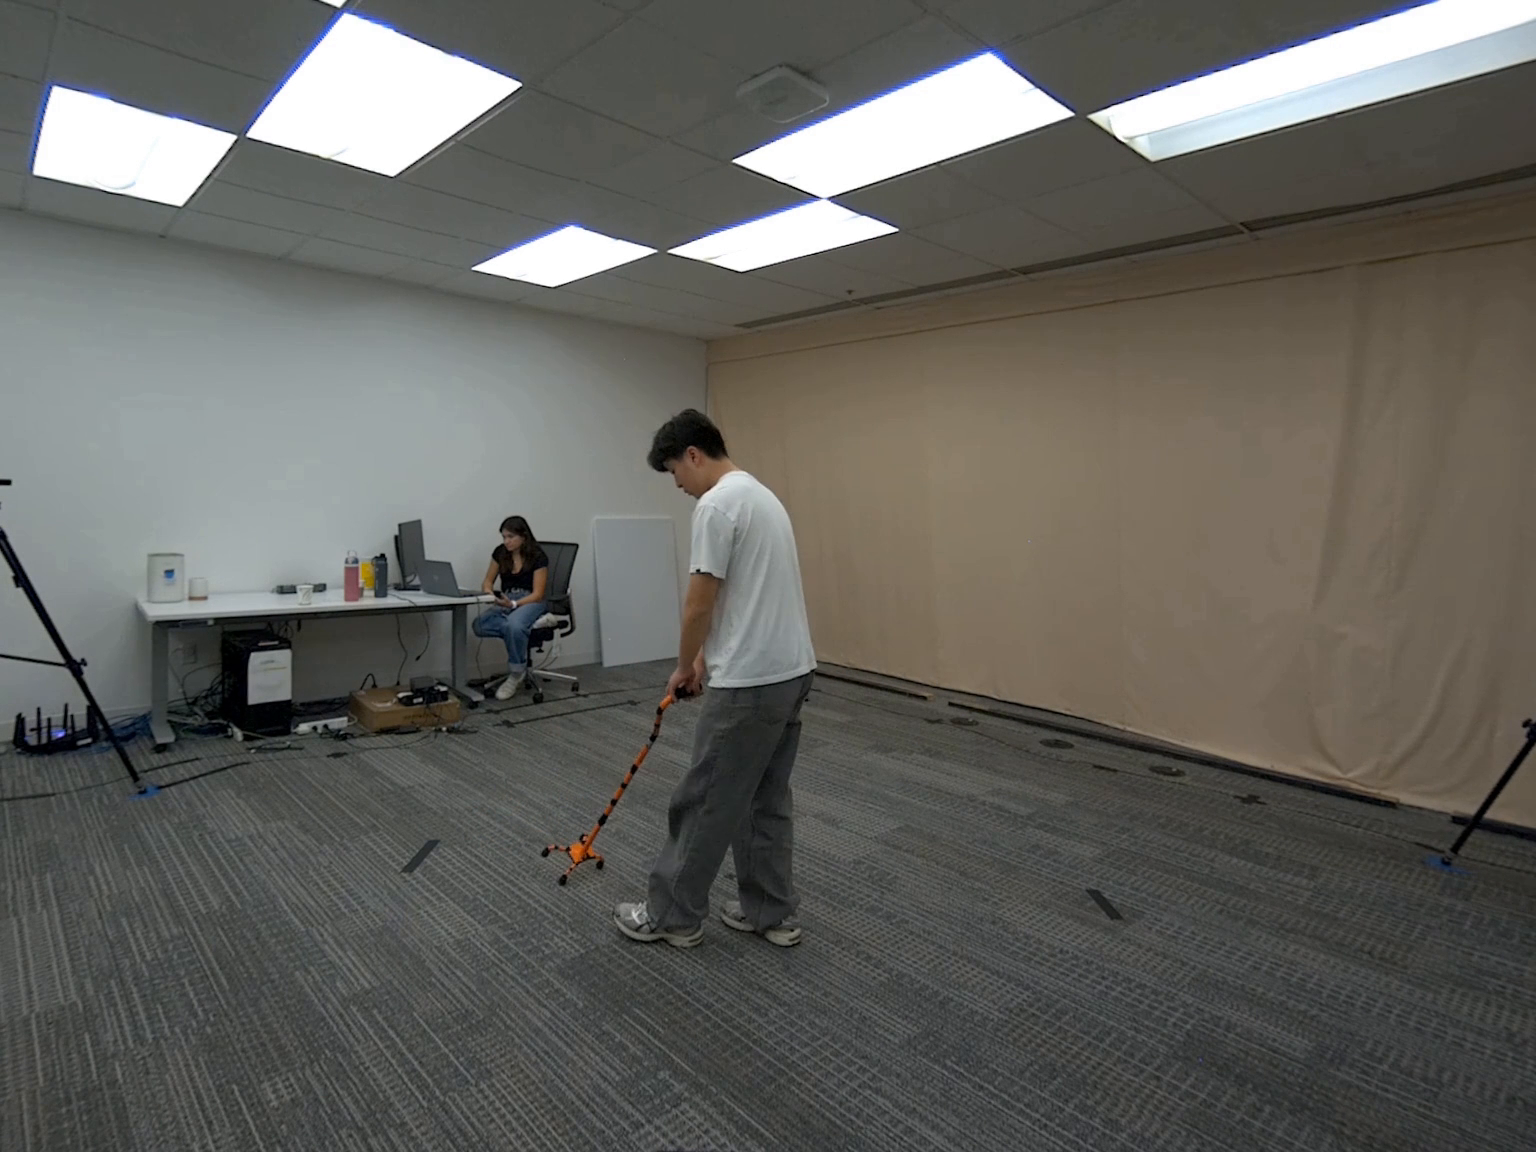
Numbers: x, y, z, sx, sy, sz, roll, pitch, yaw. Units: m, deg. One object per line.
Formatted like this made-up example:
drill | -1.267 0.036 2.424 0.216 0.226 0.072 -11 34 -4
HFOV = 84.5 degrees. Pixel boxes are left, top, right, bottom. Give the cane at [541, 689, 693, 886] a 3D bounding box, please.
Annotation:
cane | -0.514 0.712 2.907 0.155 0.903 0.202 44 28 26
